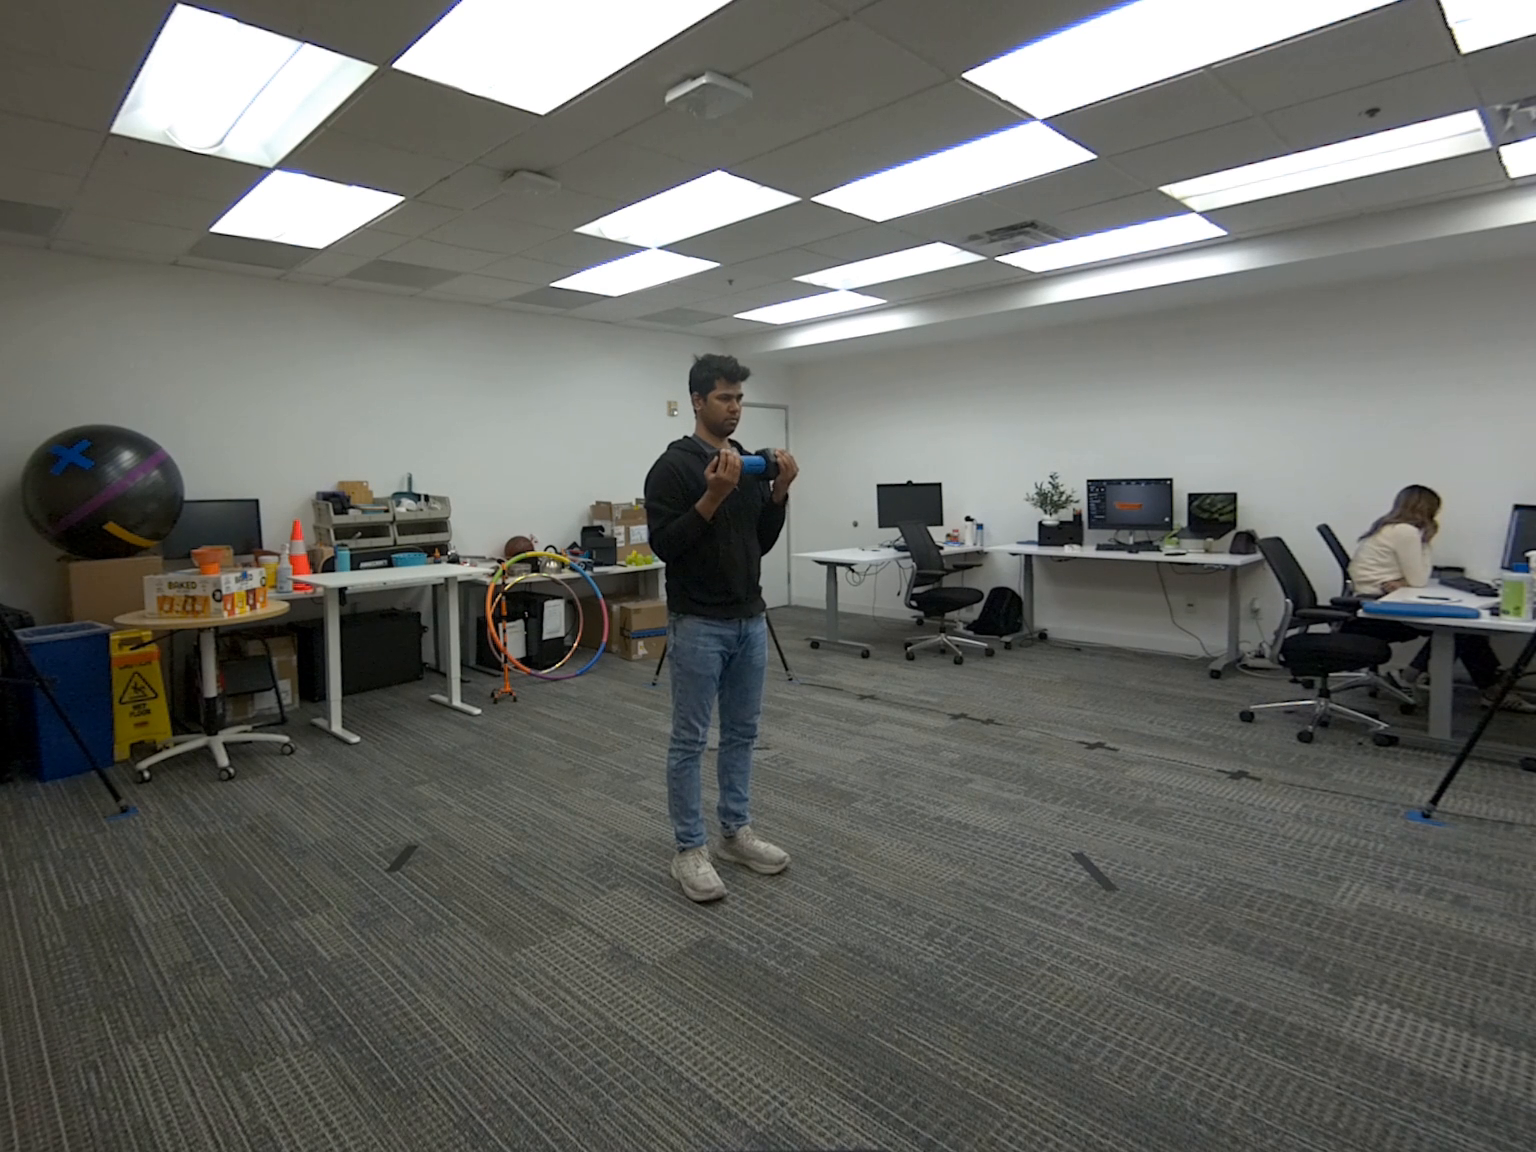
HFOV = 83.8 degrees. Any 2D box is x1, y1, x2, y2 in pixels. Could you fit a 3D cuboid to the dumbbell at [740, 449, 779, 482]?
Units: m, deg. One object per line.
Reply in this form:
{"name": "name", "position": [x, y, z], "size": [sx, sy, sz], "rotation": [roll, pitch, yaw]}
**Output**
{"name": "dumbbell", "position": [-0.082, -0.359, 2.865], "size": [0.286, 0.109, 0.125], "rotation": [-7, -5, -44]}
